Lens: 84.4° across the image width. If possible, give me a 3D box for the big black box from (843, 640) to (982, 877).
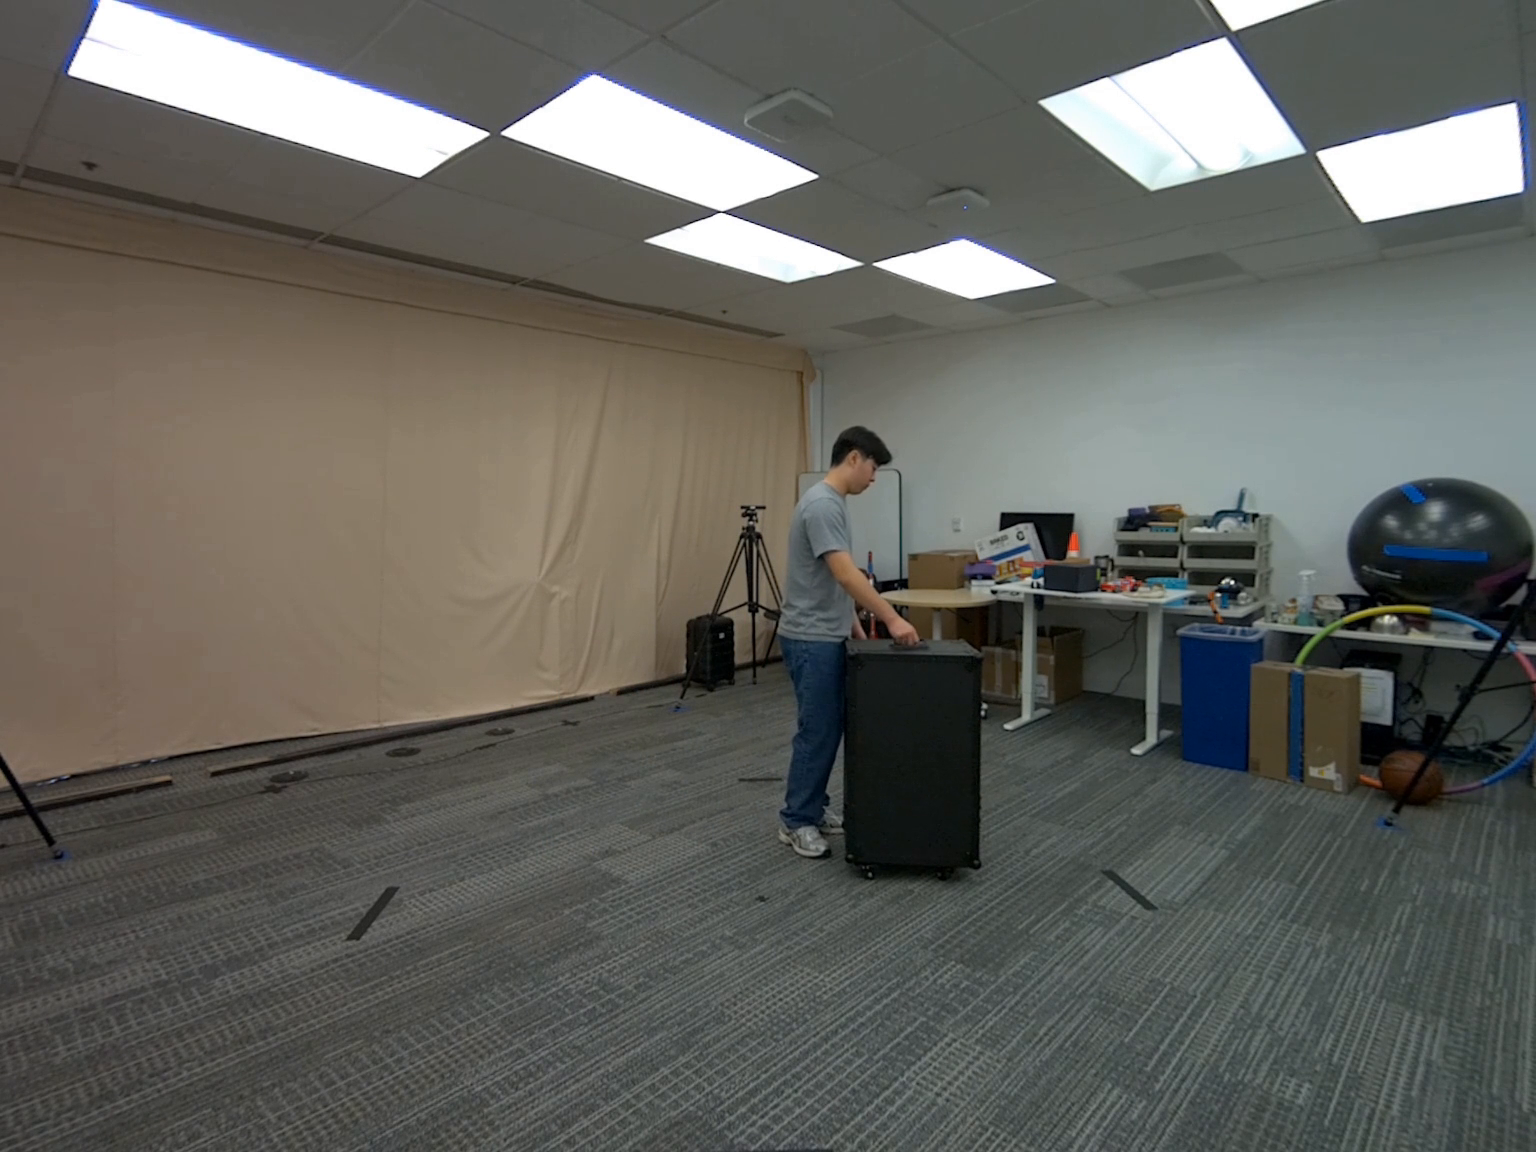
[{"bbox_3d":[0.547,0.697,3.255,0.525,0.860,0.394,0,3,5],"label":"big black box"}]
